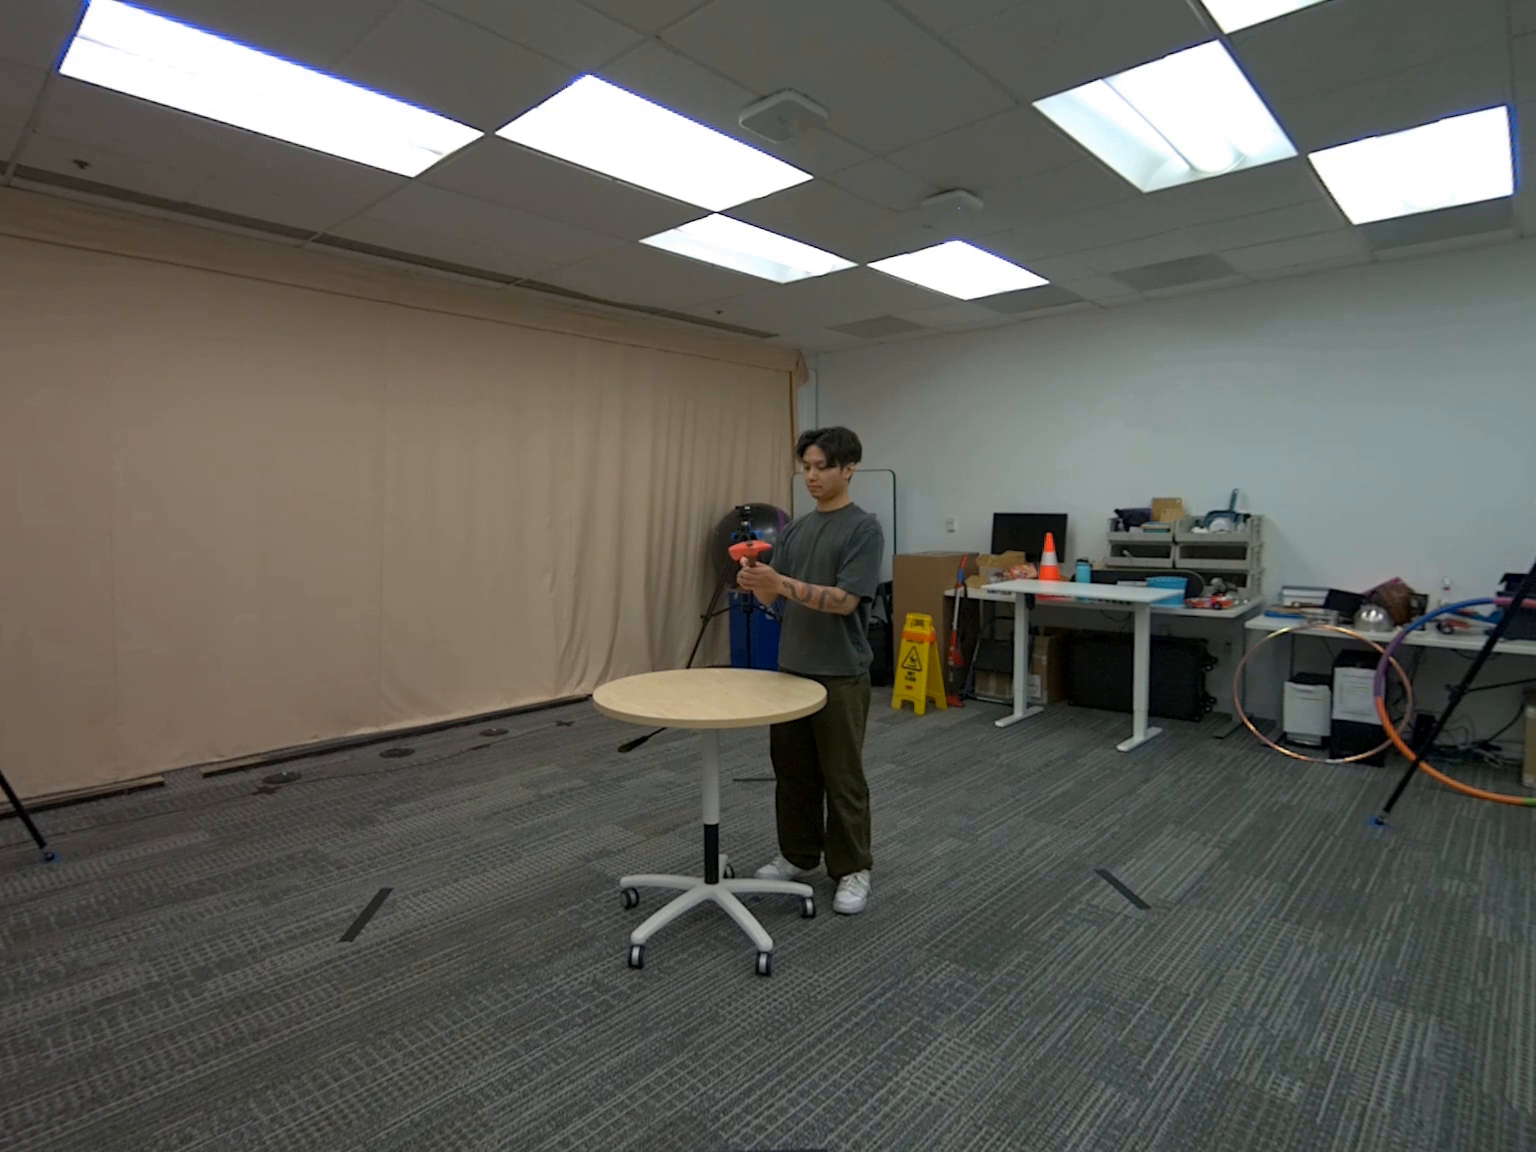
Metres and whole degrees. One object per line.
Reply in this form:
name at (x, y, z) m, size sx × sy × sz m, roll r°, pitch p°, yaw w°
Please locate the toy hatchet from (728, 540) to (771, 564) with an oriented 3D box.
toy hatchet at (-0.085, -0.031, 2.744) m, size 0.129 × 0.030 × 0.269 m, roll 6°, pitch -37°, yaw -17°
